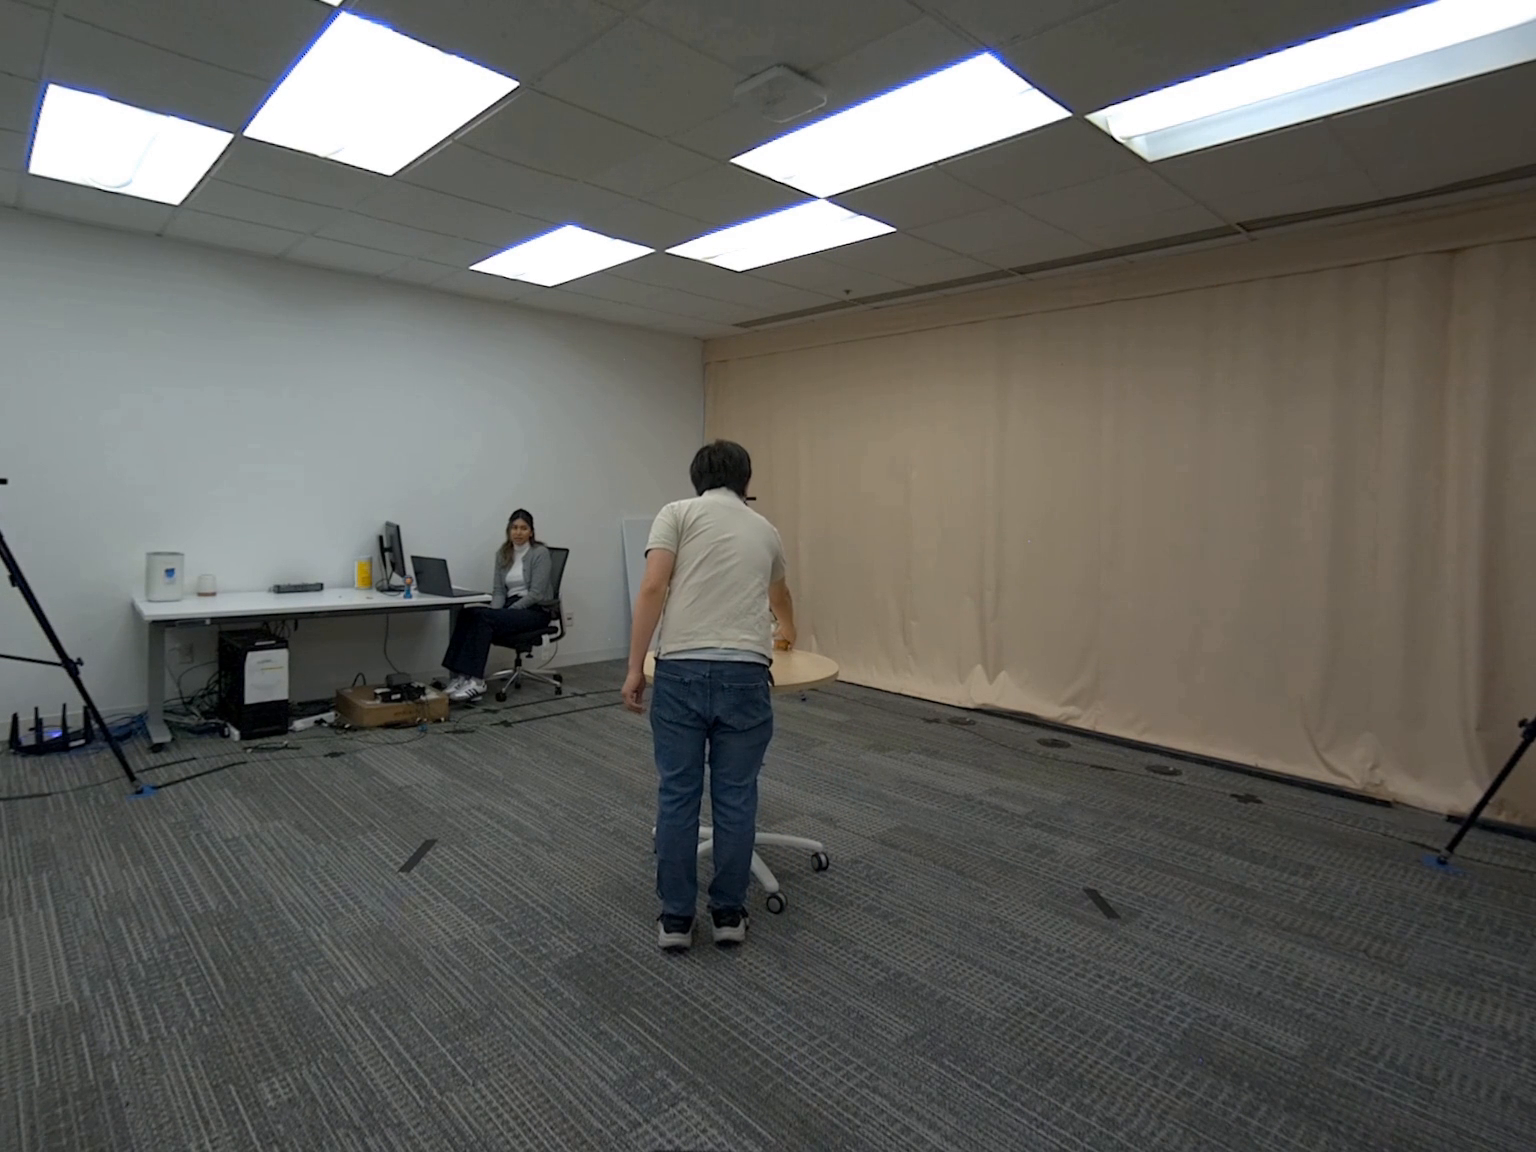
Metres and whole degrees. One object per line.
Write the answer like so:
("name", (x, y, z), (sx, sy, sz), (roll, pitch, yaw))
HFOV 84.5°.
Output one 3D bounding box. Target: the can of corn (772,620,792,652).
("can of corn", (0.042, 0.243, 3.411), (0.074, 0.110, 0.074), (2, 5, -2))
